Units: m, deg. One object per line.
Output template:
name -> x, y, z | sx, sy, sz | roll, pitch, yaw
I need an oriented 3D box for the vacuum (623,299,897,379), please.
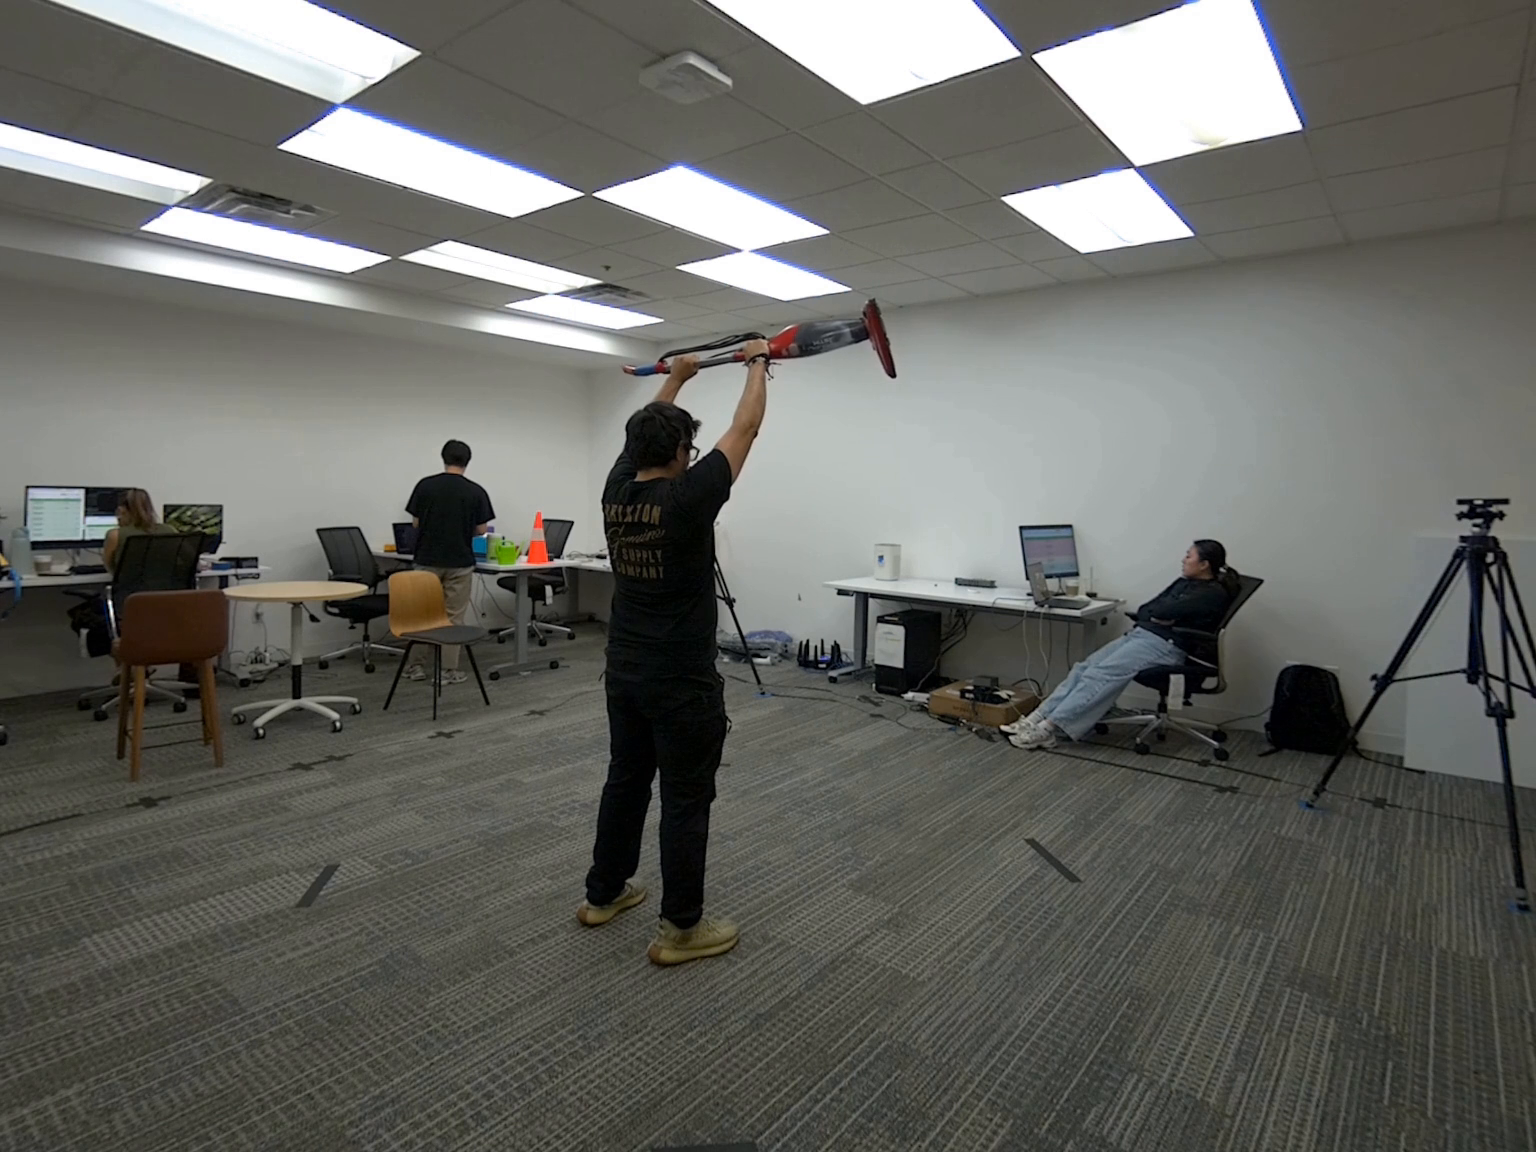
vacuum -> -0.100, -0.752, 2.828 | 1.083, 0.243, 0.145 | 4, 47, 36
